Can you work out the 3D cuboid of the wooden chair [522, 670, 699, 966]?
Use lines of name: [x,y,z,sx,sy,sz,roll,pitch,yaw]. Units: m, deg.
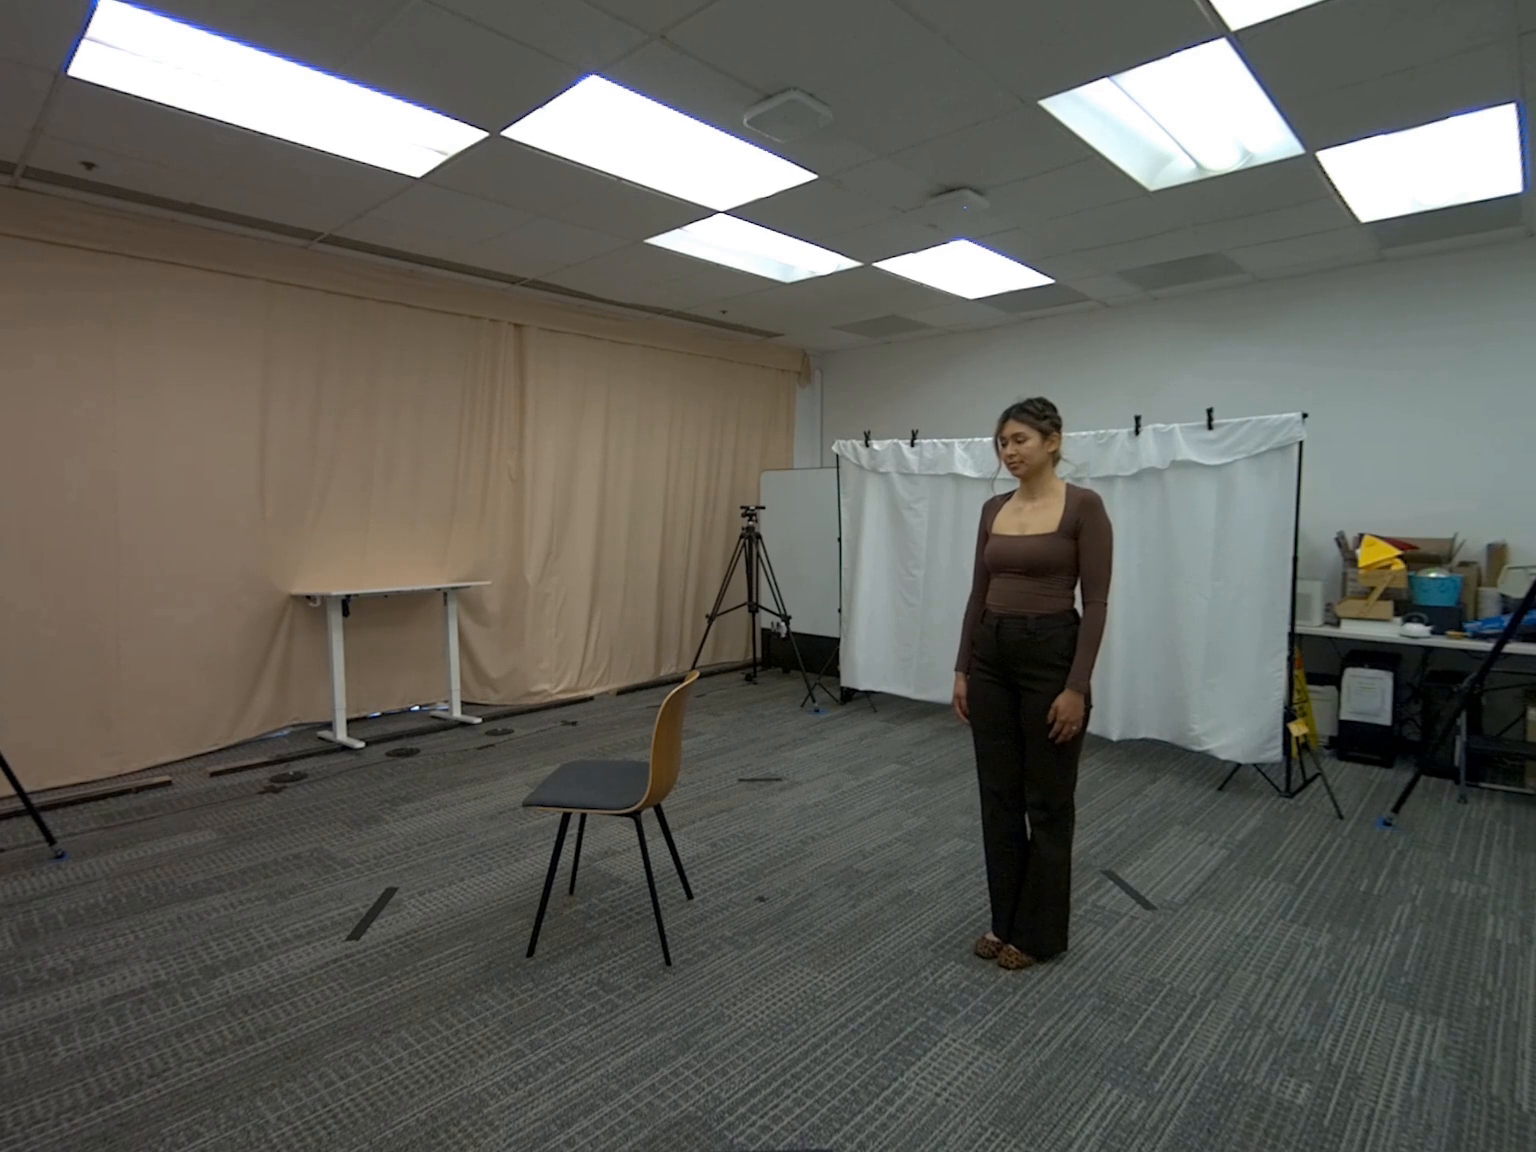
wooden chair: [-0.513,0.737,2.771,0.527,0.875,0.476,4,4,5]
